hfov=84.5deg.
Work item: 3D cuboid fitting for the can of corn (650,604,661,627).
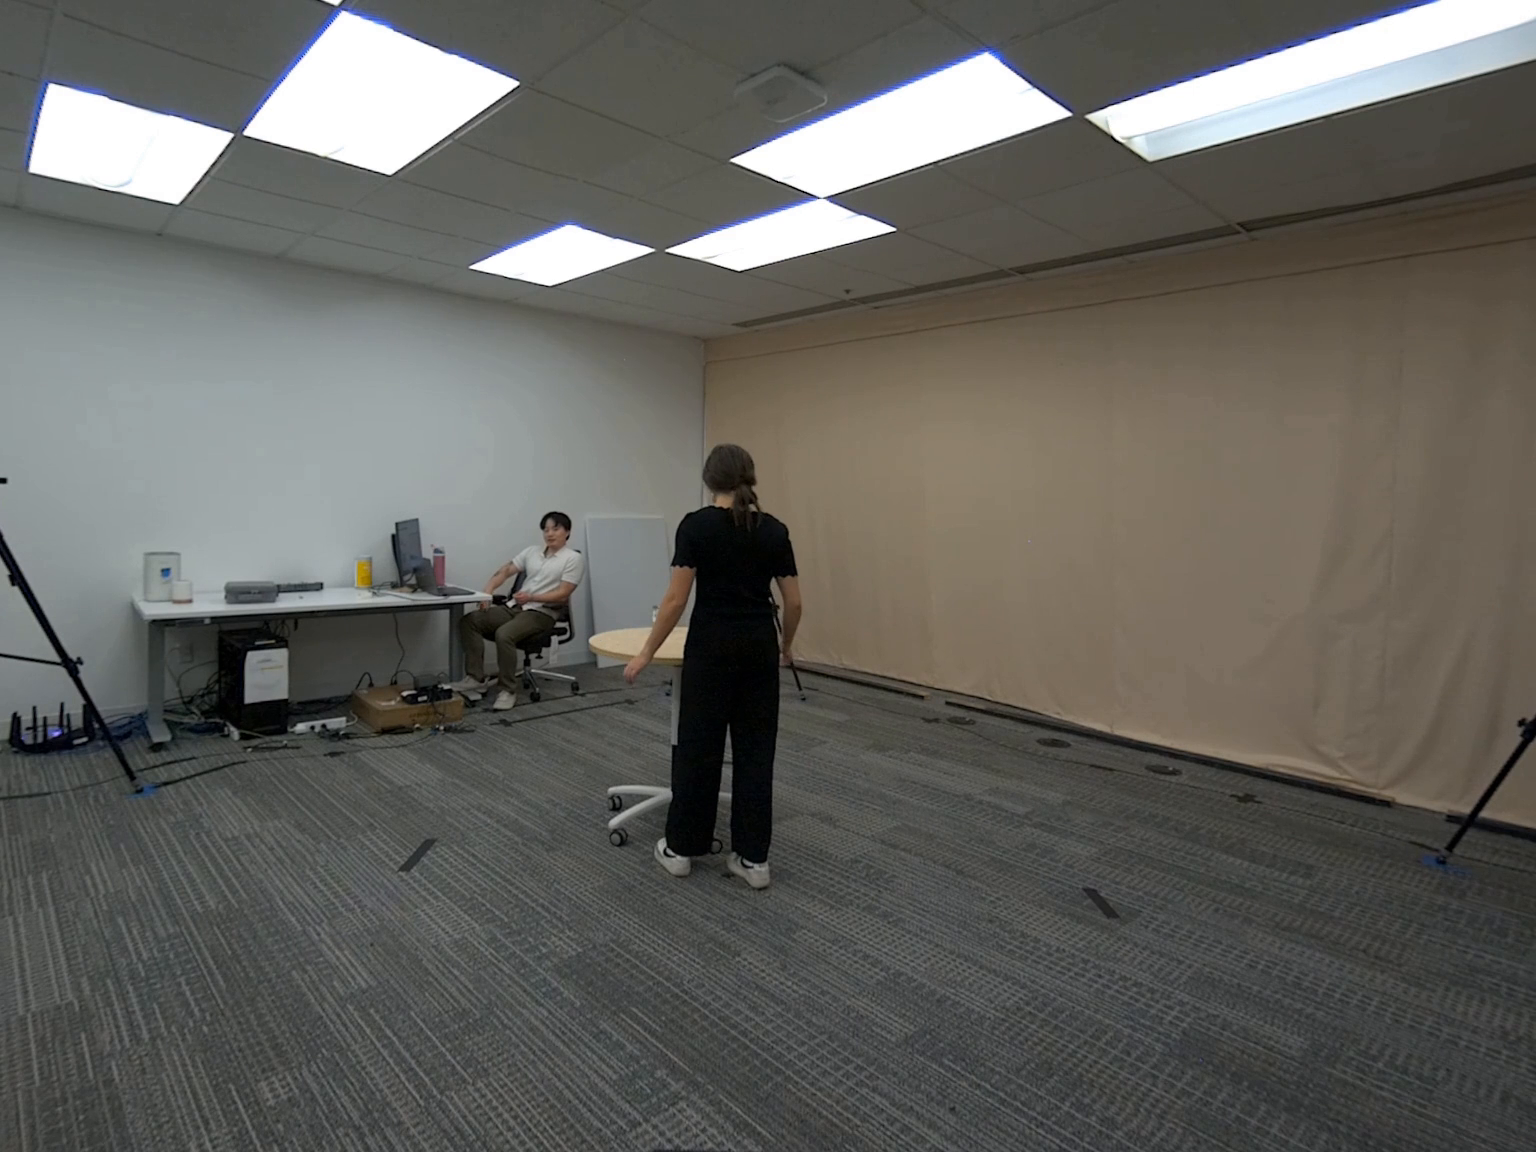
[{"bbox_3d":[-0.493,0.197,3.792,0.074,0.111,0.074,1,3,-1],"label":"can of corn"}]
